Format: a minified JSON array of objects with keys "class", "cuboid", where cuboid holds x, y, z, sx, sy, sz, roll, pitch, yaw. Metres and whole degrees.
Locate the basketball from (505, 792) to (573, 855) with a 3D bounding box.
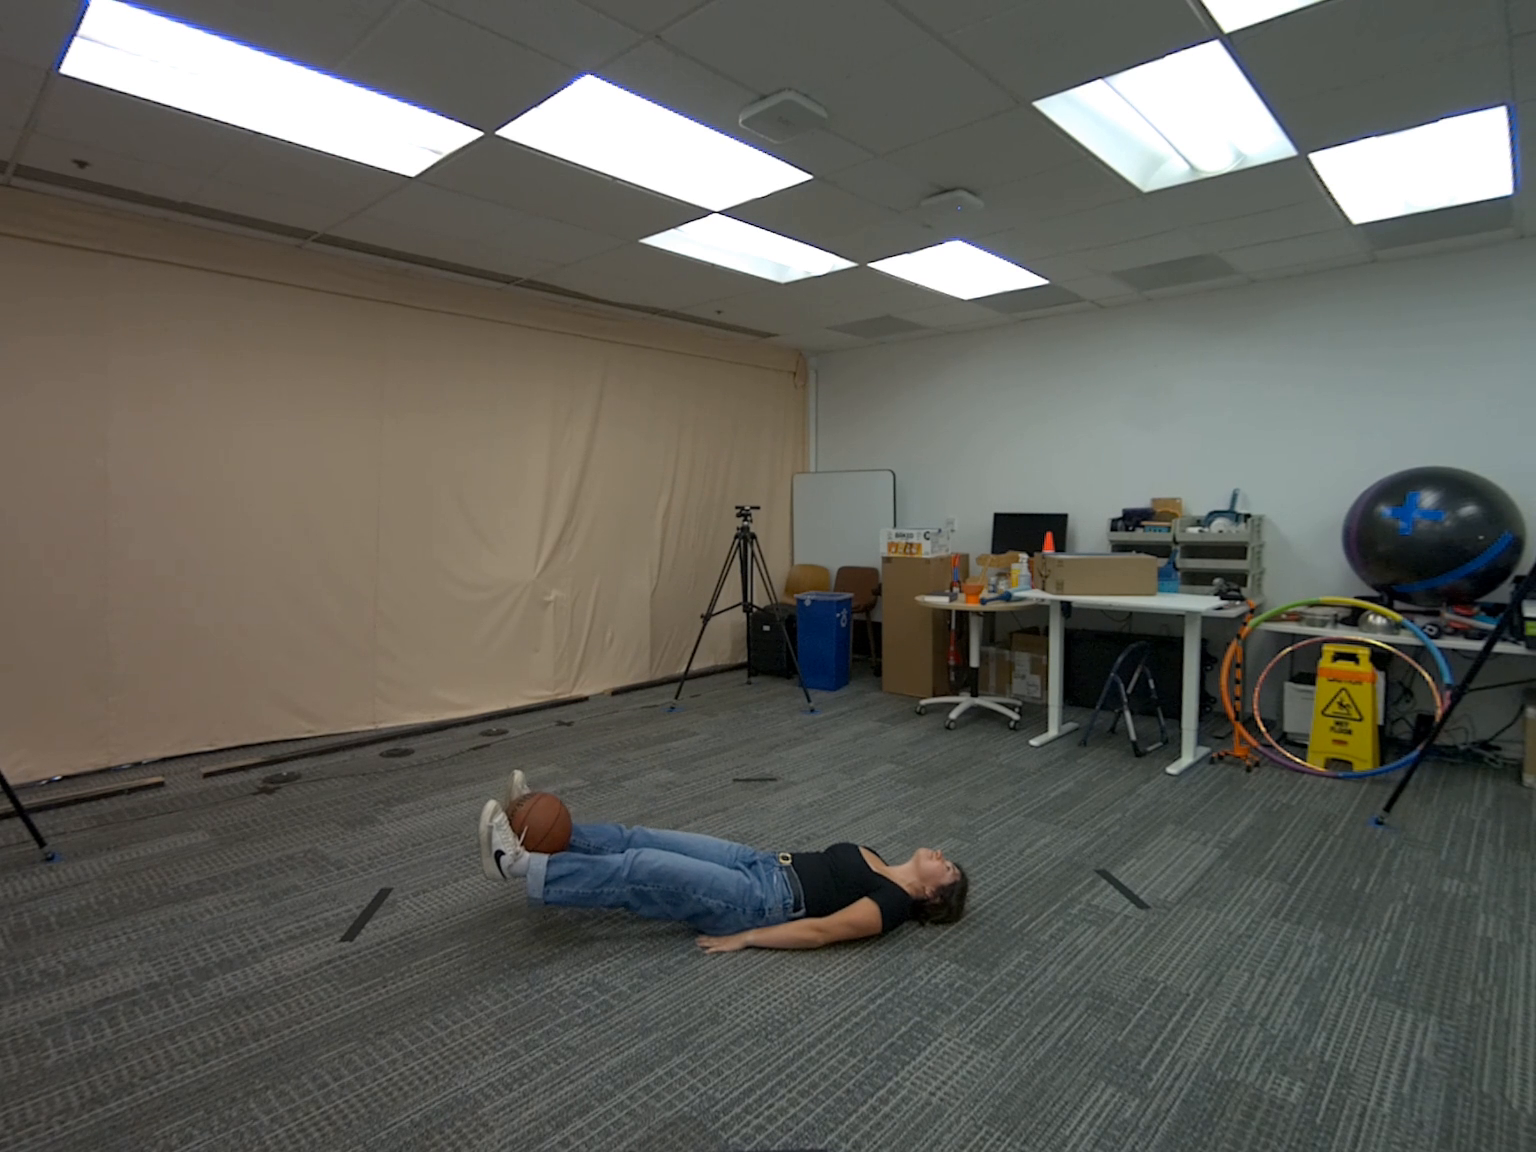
[{"class":"basketball","cuboid":[-0.766,0.834,2.786,0.236,0.235,0.237,0,4,-2]}]
